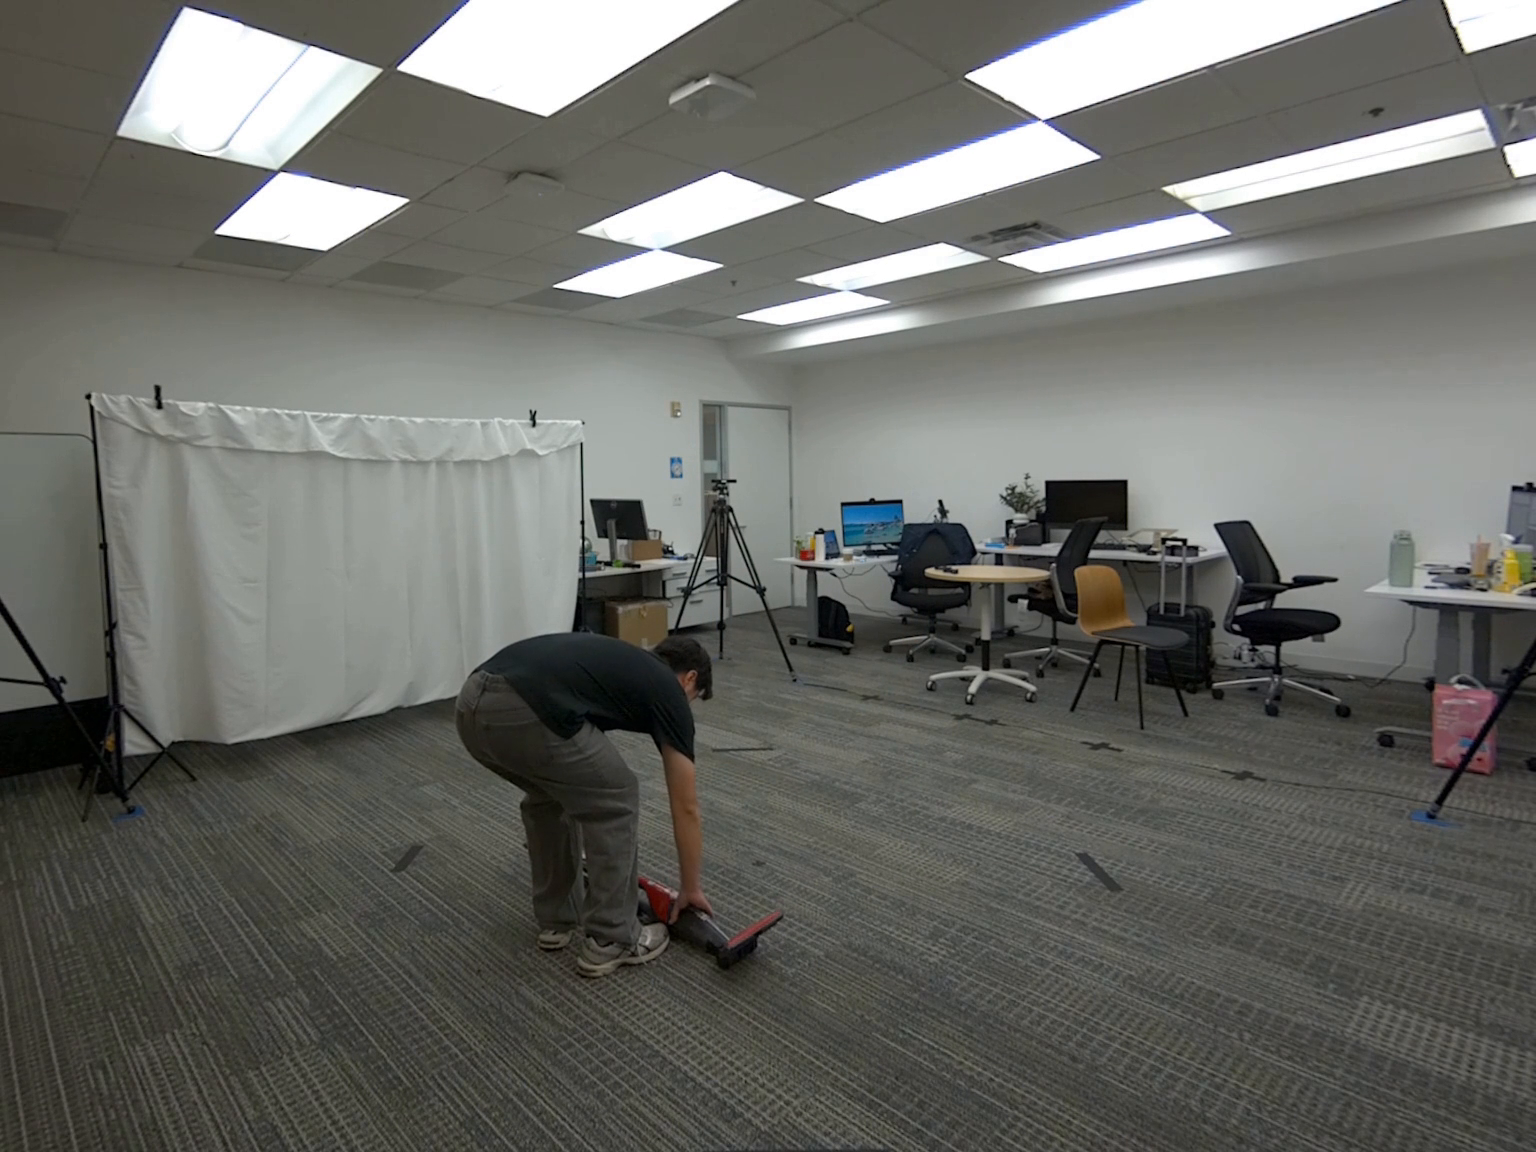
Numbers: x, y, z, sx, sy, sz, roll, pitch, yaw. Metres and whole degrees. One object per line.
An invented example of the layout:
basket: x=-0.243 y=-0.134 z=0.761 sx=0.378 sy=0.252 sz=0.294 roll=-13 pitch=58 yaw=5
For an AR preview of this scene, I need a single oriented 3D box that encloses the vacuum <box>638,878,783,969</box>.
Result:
vacuum: x=-0.460 y=1.029 z=2.810 sx=1.081 sy=0.143 sz=0.246 roll=4 pitch=10 yaw=39
